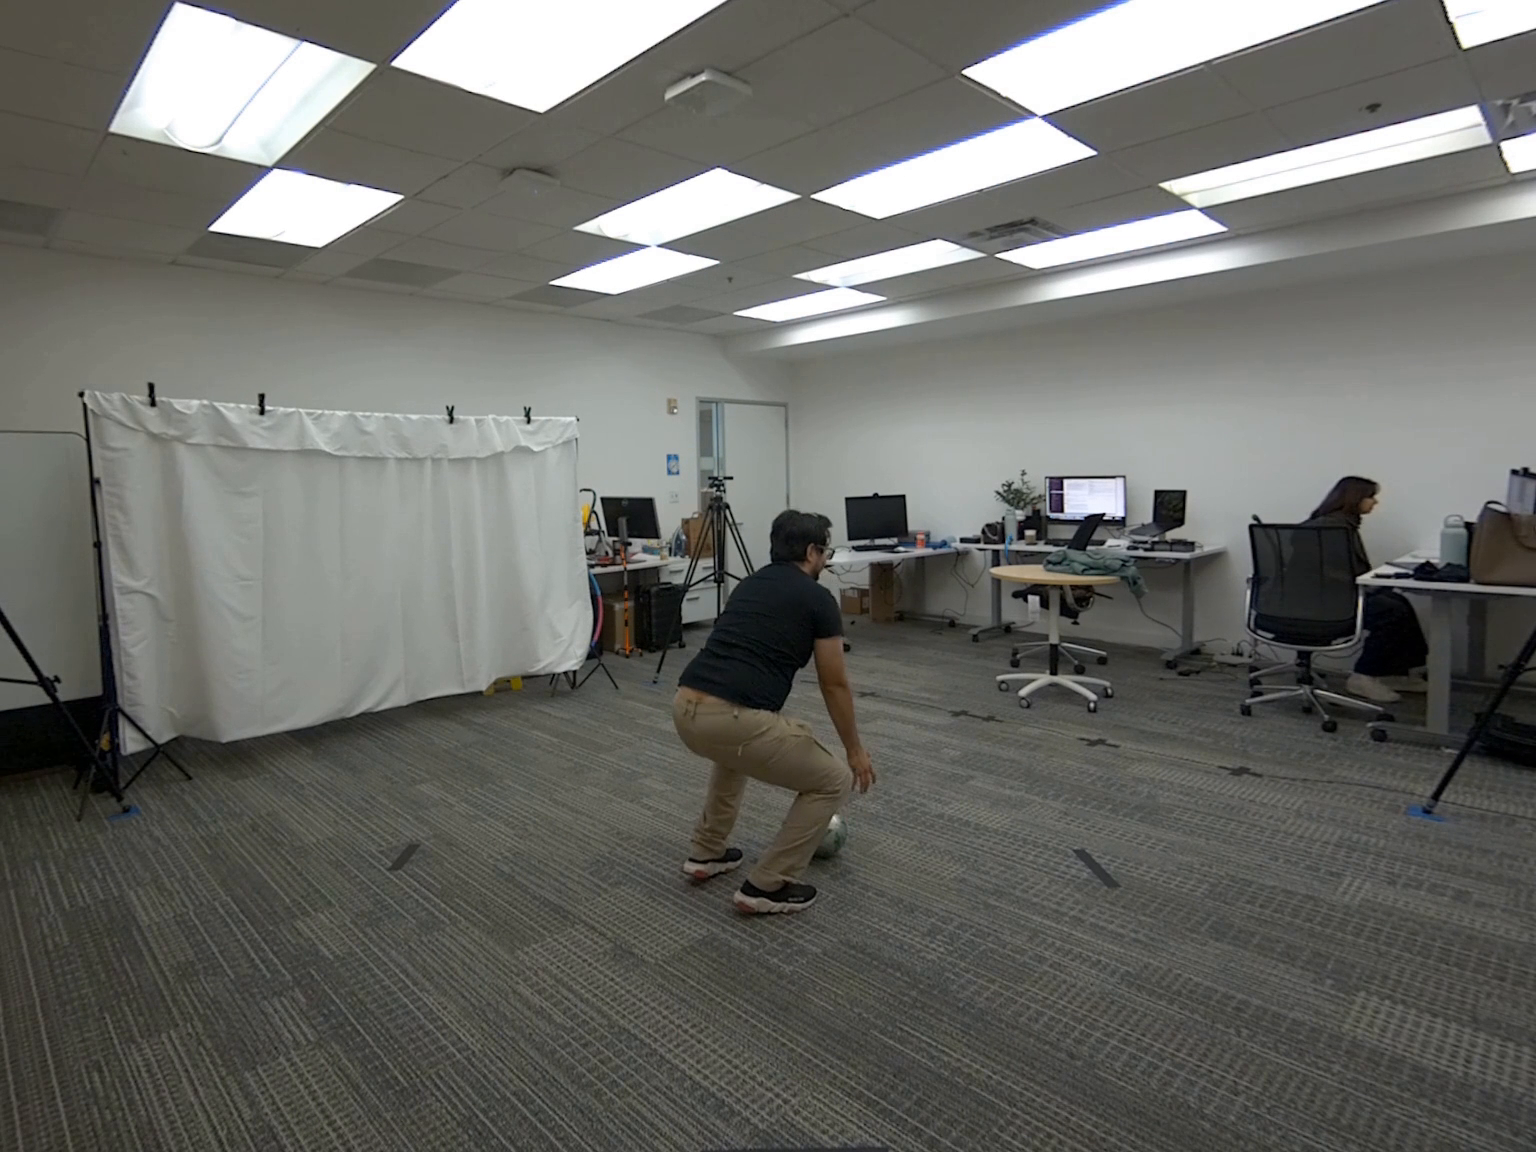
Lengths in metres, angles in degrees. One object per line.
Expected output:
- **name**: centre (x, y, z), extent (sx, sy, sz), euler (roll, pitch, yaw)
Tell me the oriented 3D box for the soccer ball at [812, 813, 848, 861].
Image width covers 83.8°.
- **soccer ball**: centre (0.199, 0.933, 3.143), extent (0.187, 0.187, 0.188), euler (-1, 5, -2)
